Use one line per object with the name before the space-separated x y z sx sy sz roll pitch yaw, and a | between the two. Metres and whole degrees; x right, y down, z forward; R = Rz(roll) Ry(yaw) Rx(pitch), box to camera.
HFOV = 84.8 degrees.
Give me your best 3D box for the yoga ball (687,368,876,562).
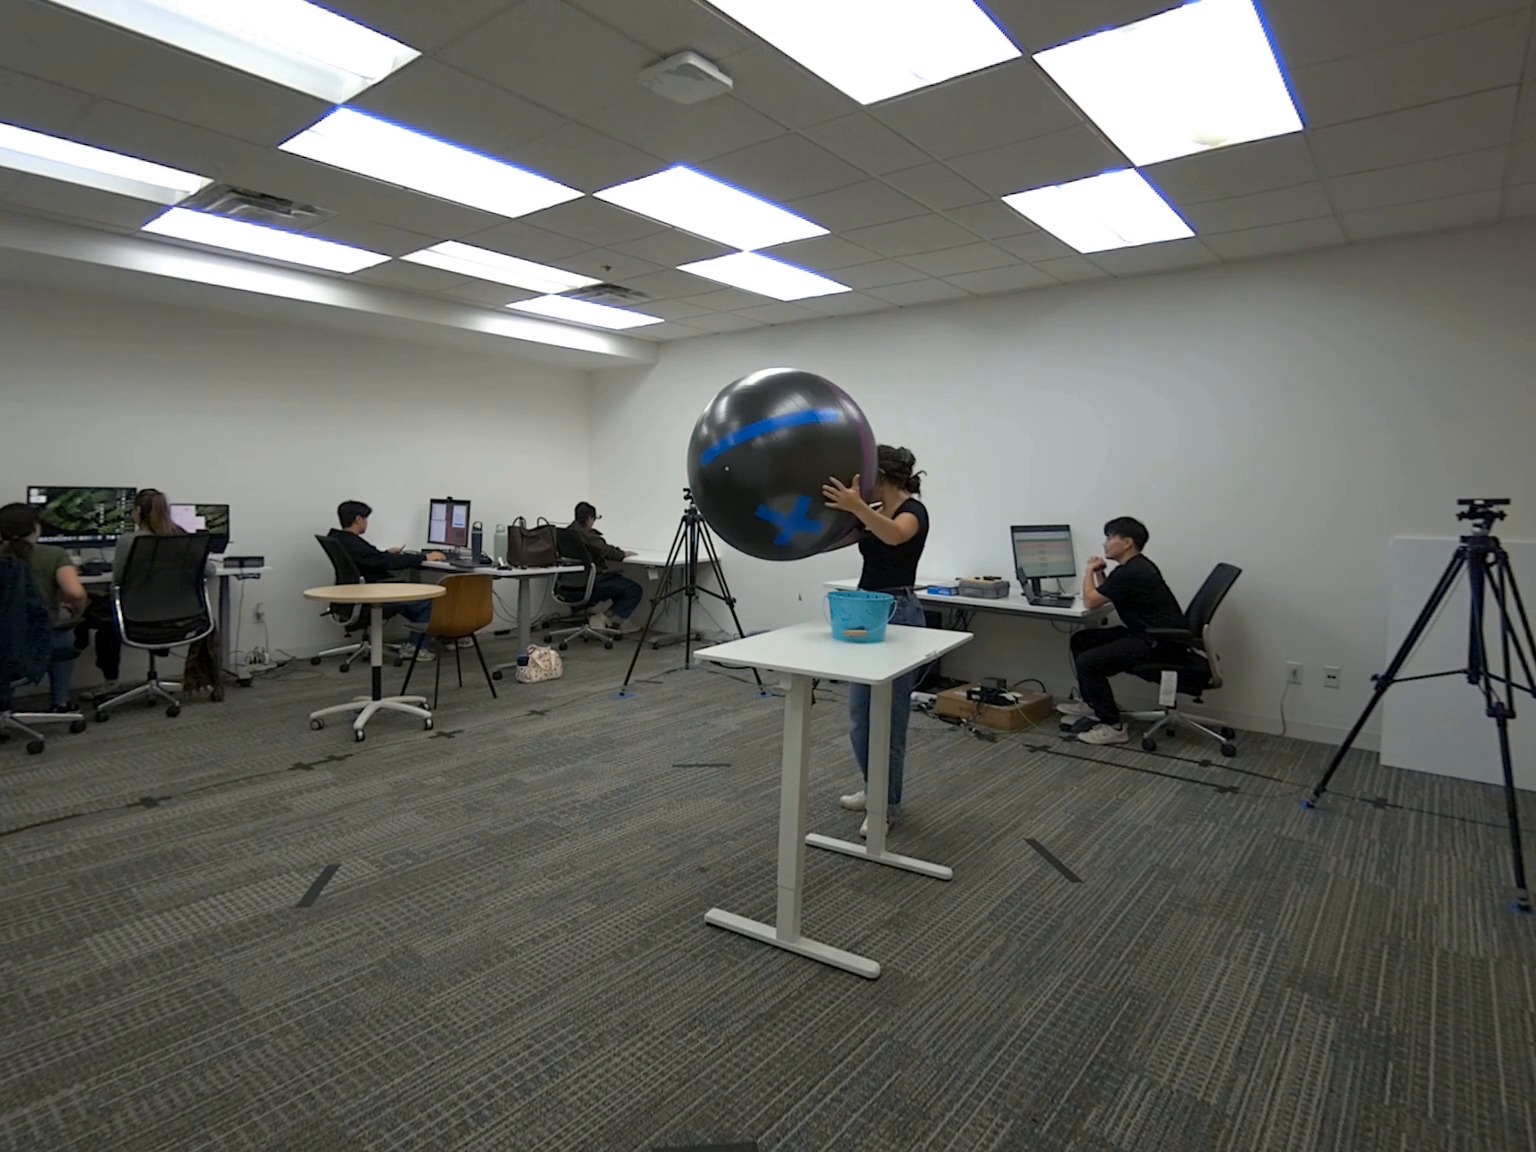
yoga ball | 0.049 -0.434 3.388 0.757 0.756 0.762 1 4 -2
